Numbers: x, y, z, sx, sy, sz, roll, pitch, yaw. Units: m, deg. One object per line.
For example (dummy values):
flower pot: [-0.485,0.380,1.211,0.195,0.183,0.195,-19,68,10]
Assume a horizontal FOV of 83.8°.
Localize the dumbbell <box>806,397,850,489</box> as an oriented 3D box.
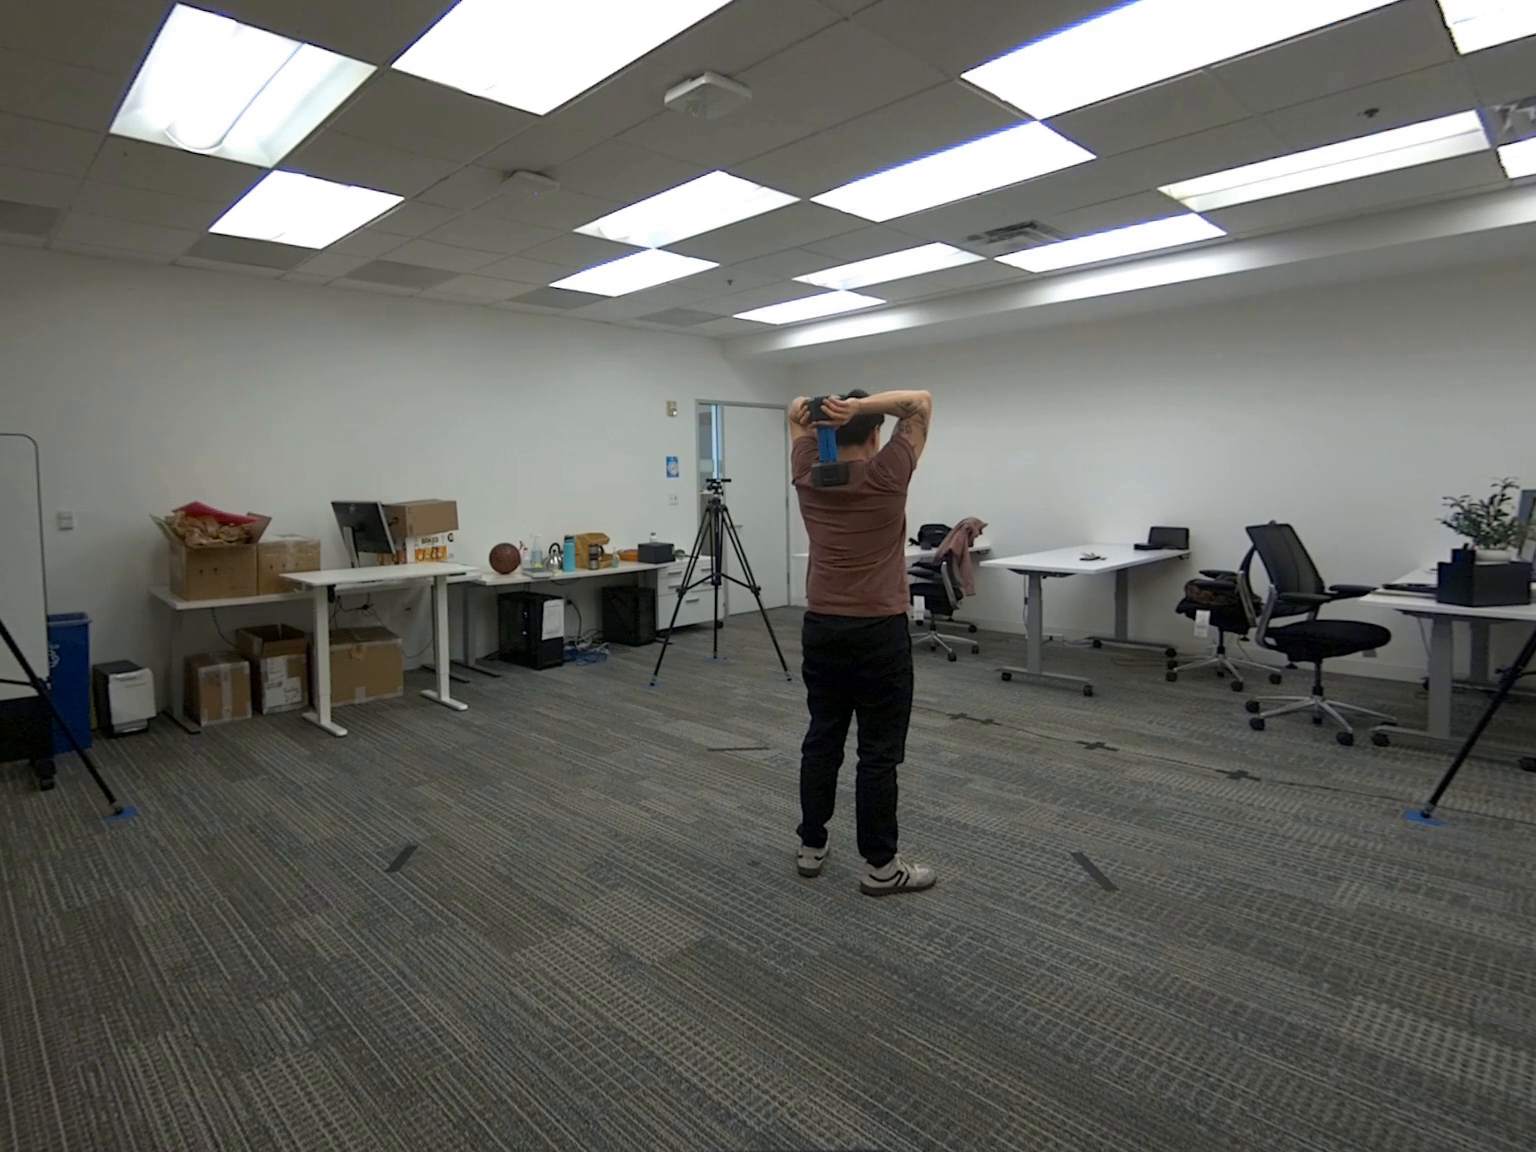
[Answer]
dumbbell: [0.200,-0.440,2.804,0.110,0.292,0.122,0,7,15]
